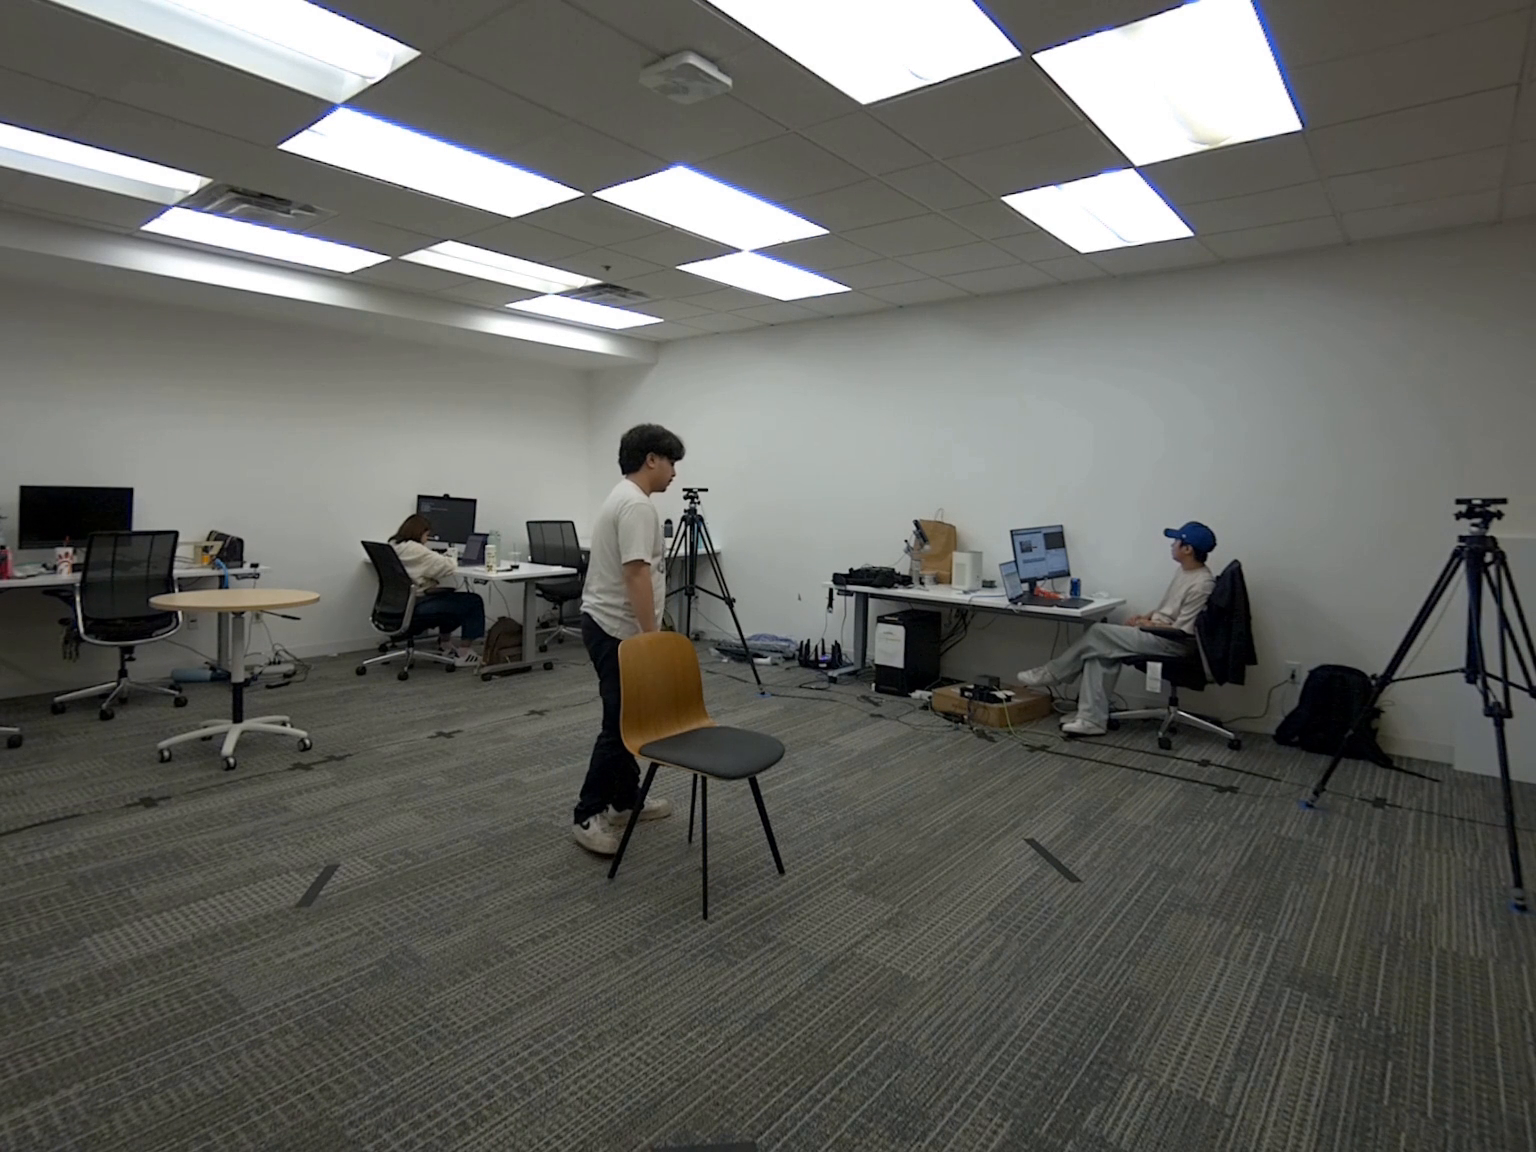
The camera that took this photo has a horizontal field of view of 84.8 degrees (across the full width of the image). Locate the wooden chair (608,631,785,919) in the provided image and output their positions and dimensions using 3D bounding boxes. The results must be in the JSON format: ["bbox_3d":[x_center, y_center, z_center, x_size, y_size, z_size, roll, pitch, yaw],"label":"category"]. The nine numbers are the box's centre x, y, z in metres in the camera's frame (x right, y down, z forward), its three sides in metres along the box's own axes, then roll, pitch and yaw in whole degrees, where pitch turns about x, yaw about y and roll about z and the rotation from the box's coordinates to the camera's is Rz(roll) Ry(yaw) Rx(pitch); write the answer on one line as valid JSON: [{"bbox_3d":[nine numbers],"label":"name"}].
[{"bbox_3d":[-0.242,0.652,3.019,0.539,0.878,0.464,-2,0,37],"label":"wooden chair"}]
